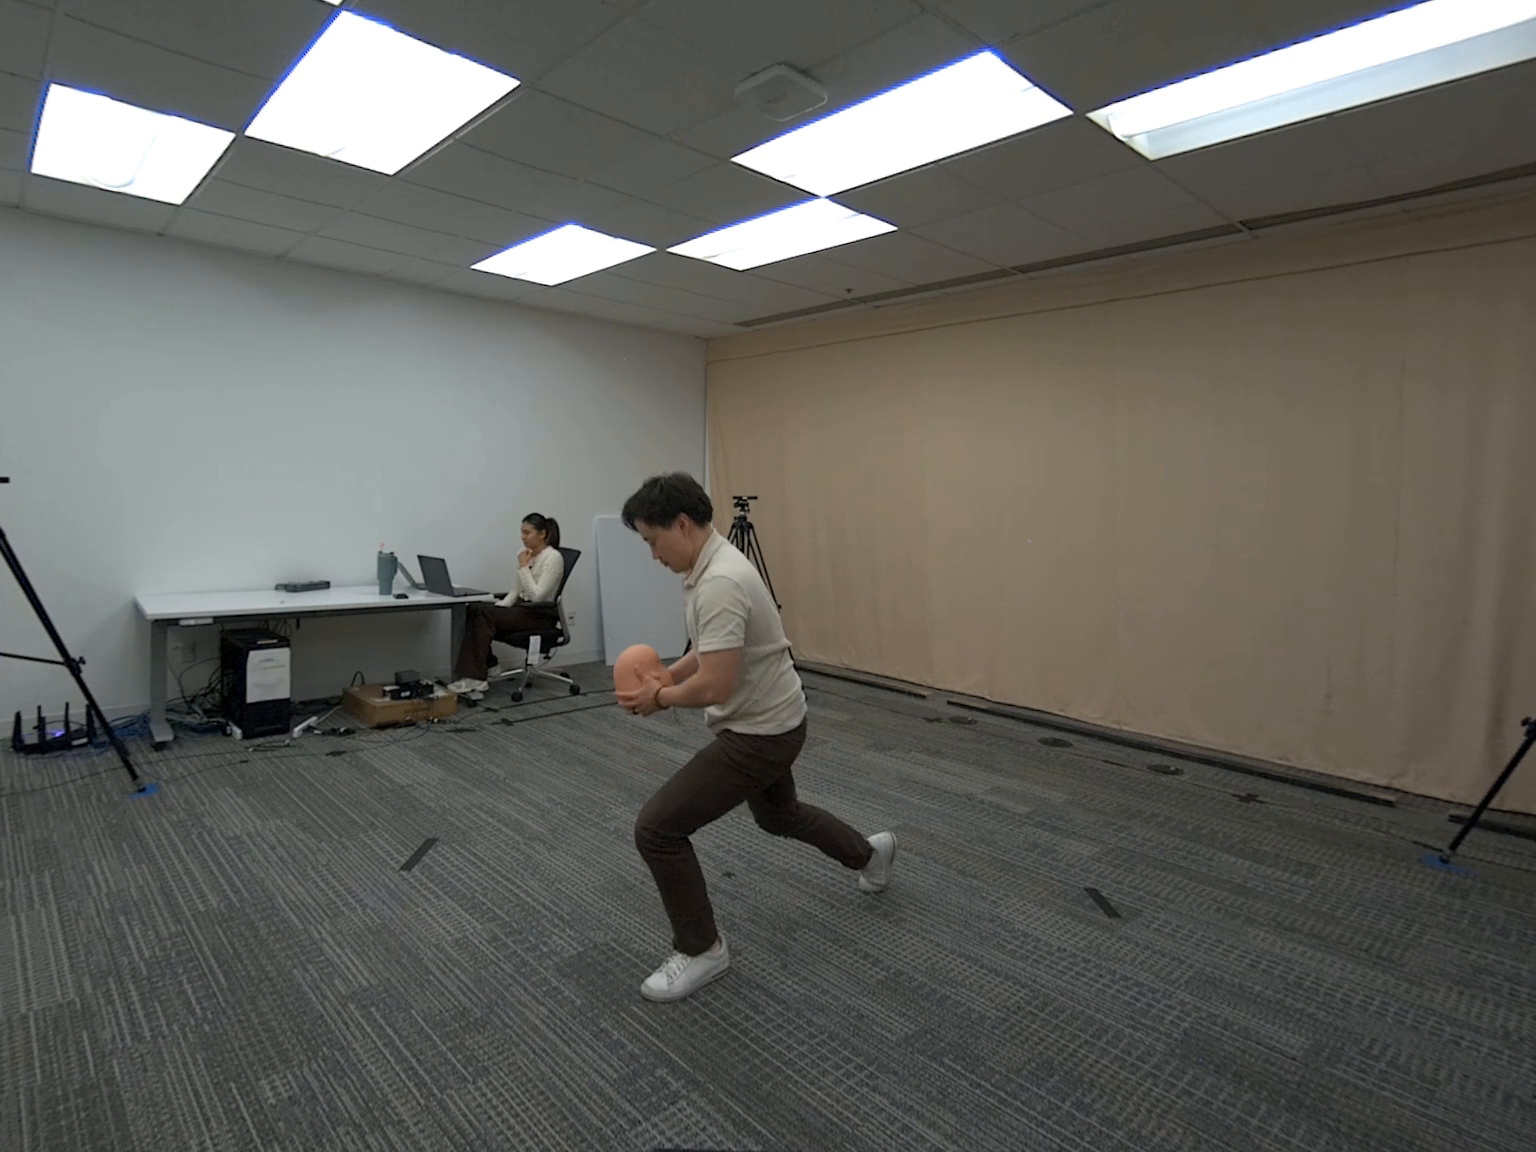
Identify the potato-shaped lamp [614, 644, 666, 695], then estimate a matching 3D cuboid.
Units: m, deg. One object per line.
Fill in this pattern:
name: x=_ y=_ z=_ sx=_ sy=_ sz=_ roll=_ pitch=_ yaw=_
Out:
potato-shaped lamp: x=-0.366 y=0.305 z=2.504 sx=0.172 sy=0.197 sz=0.164 roll=-9 pitch=6 yaw=8
